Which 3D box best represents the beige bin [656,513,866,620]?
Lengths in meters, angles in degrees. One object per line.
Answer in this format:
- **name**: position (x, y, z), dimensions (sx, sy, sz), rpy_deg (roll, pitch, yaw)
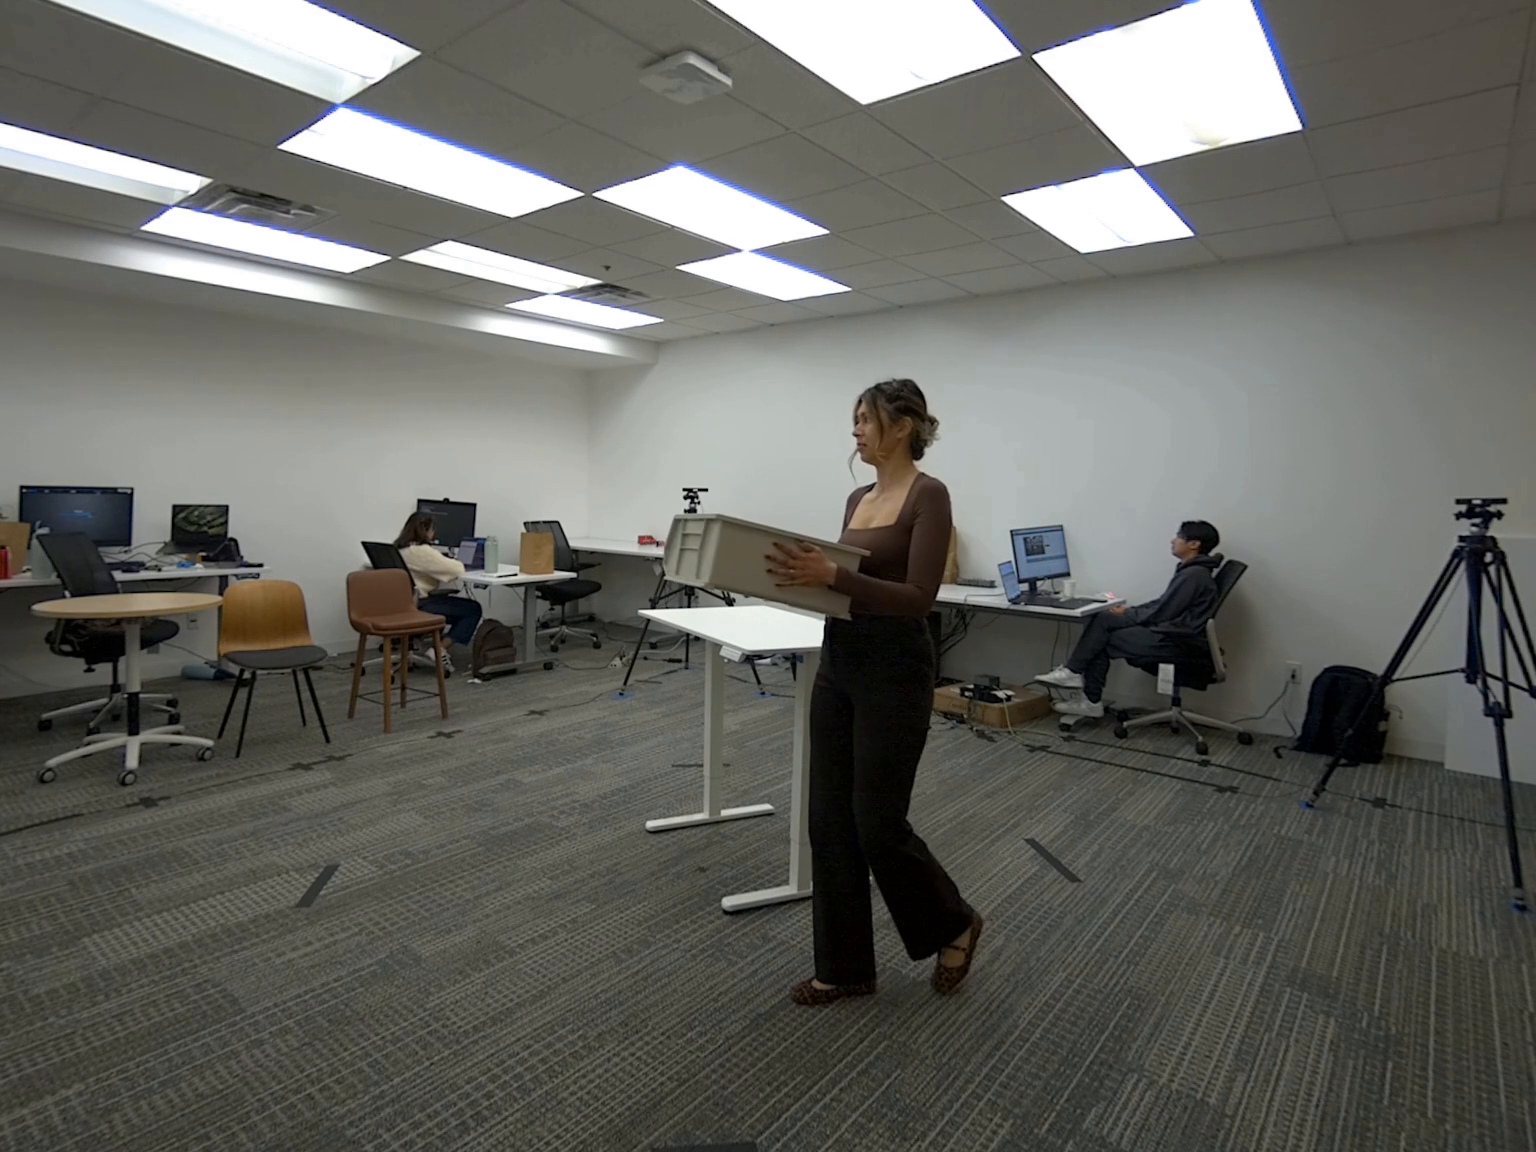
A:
- **beige bin**: position (-0.029, -0.026, 2.255), dimensions (0.412, 0.189, 0.386), rpy_deg (13, -2, -22)
